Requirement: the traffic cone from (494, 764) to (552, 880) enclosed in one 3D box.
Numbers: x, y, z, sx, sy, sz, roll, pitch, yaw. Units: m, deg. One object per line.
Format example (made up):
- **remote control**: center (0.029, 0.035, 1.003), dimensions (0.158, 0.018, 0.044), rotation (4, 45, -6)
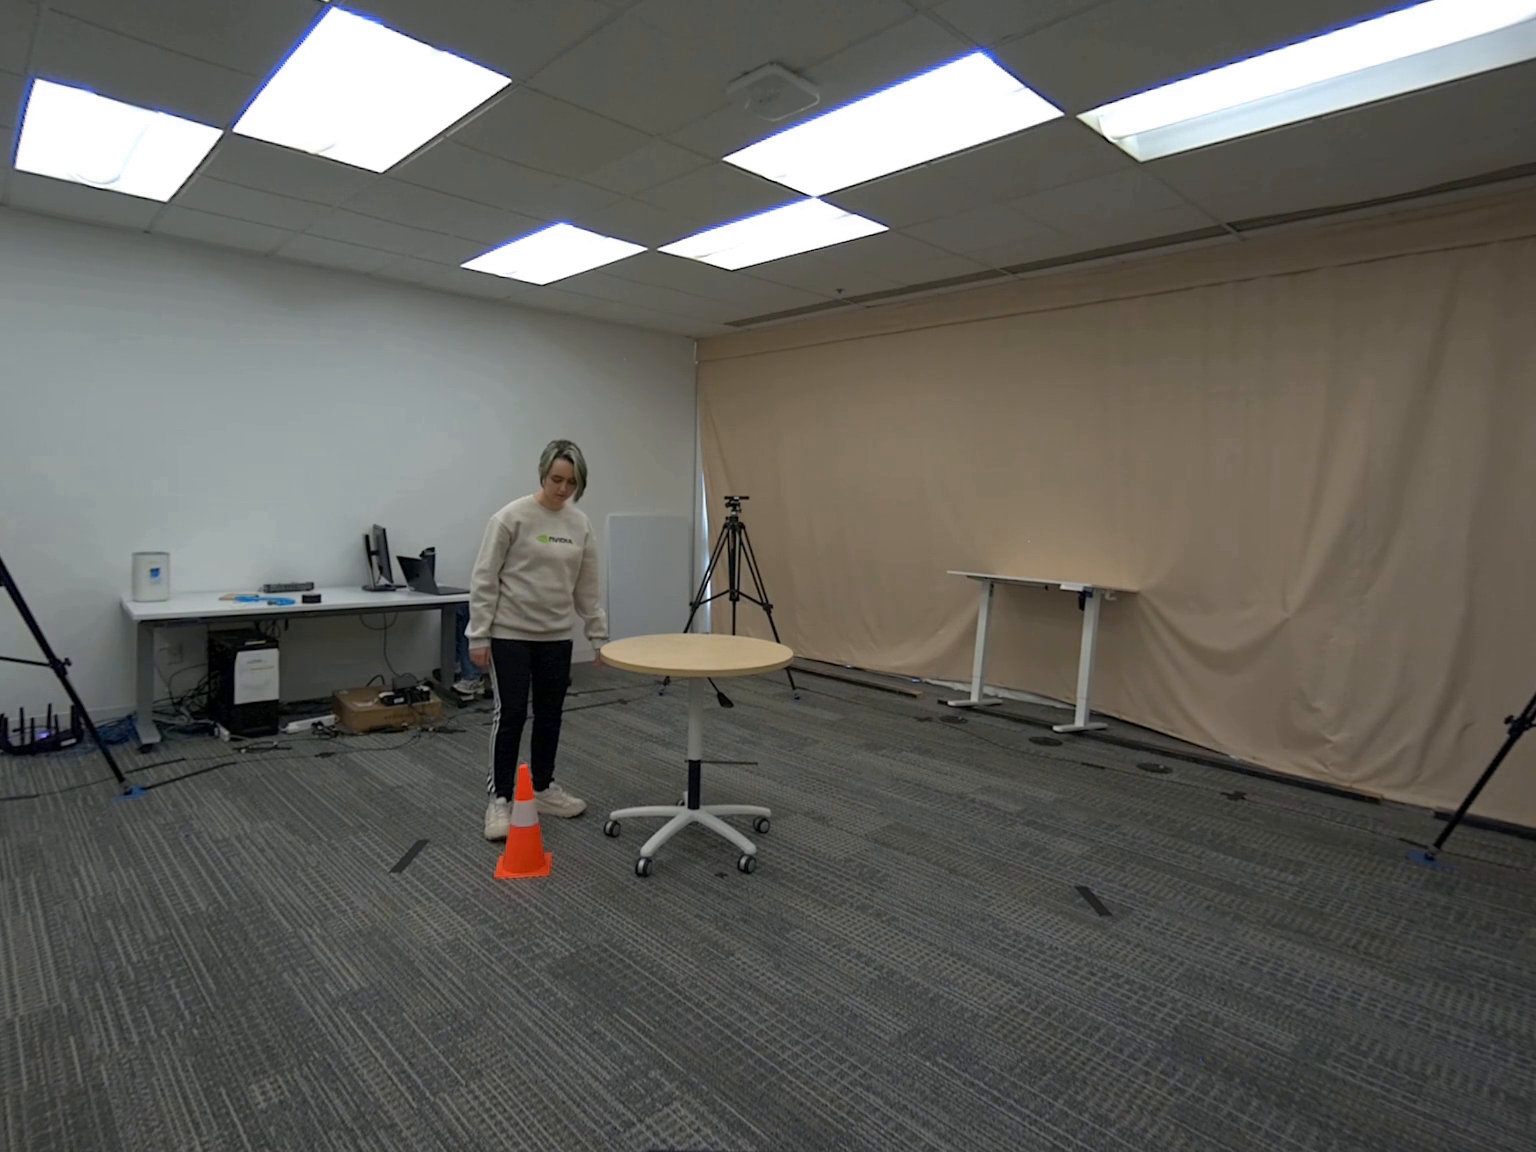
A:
- **traffic cone**: center (-0.926, 0.902, 3.137), dimensions (0.203, 0.383, 0.205), rotation (-1, 3, -12)
